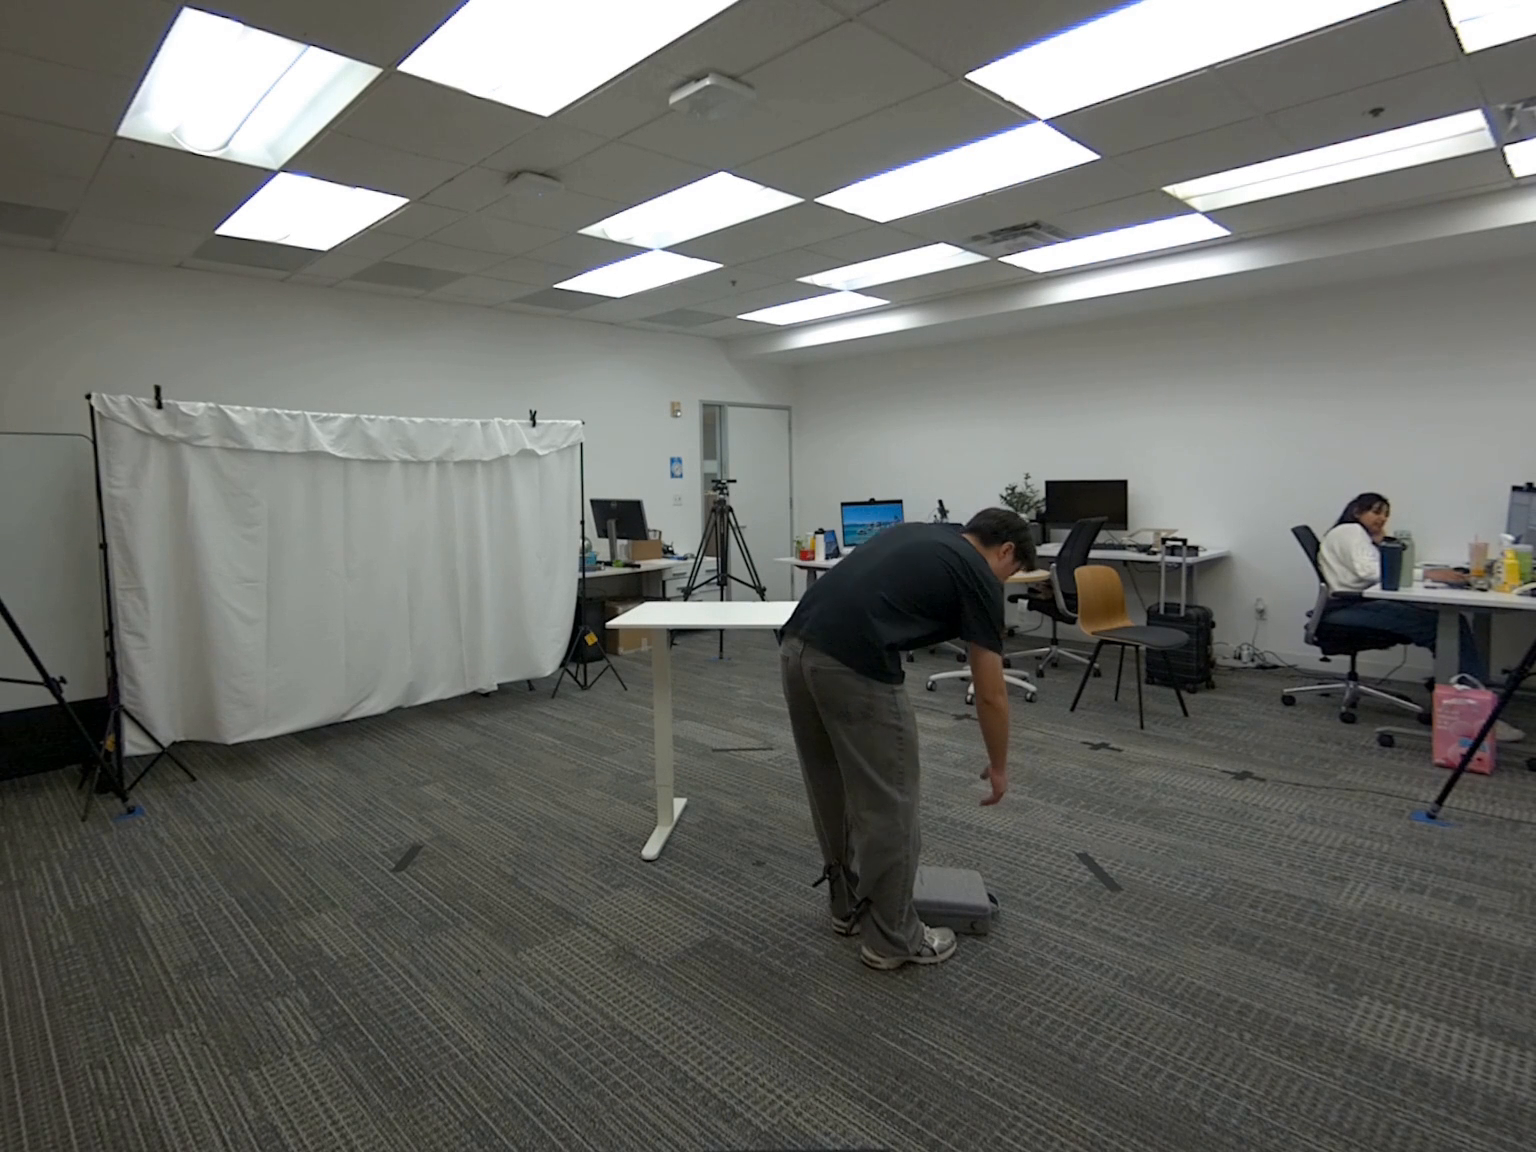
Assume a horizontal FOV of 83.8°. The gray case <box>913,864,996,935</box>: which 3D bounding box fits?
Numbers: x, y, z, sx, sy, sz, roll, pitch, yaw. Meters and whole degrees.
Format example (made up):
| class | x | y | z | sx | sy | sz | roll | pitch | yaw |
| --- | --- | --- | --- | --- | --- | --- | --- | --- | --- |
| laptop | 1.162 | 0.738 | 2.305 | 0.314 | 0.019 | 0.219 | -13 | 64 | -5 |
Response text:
| class | x | y | z | sx | sy | sz | roll | pitch | yaw |
| --- | --- | --- | --- | --- | --- | --- | --- | --- | --- |
| gray case | 0.581 | 1.026 | 2.717 | 0.290 | 0.103 | 0.262 | 0 | 5 | 9 |
